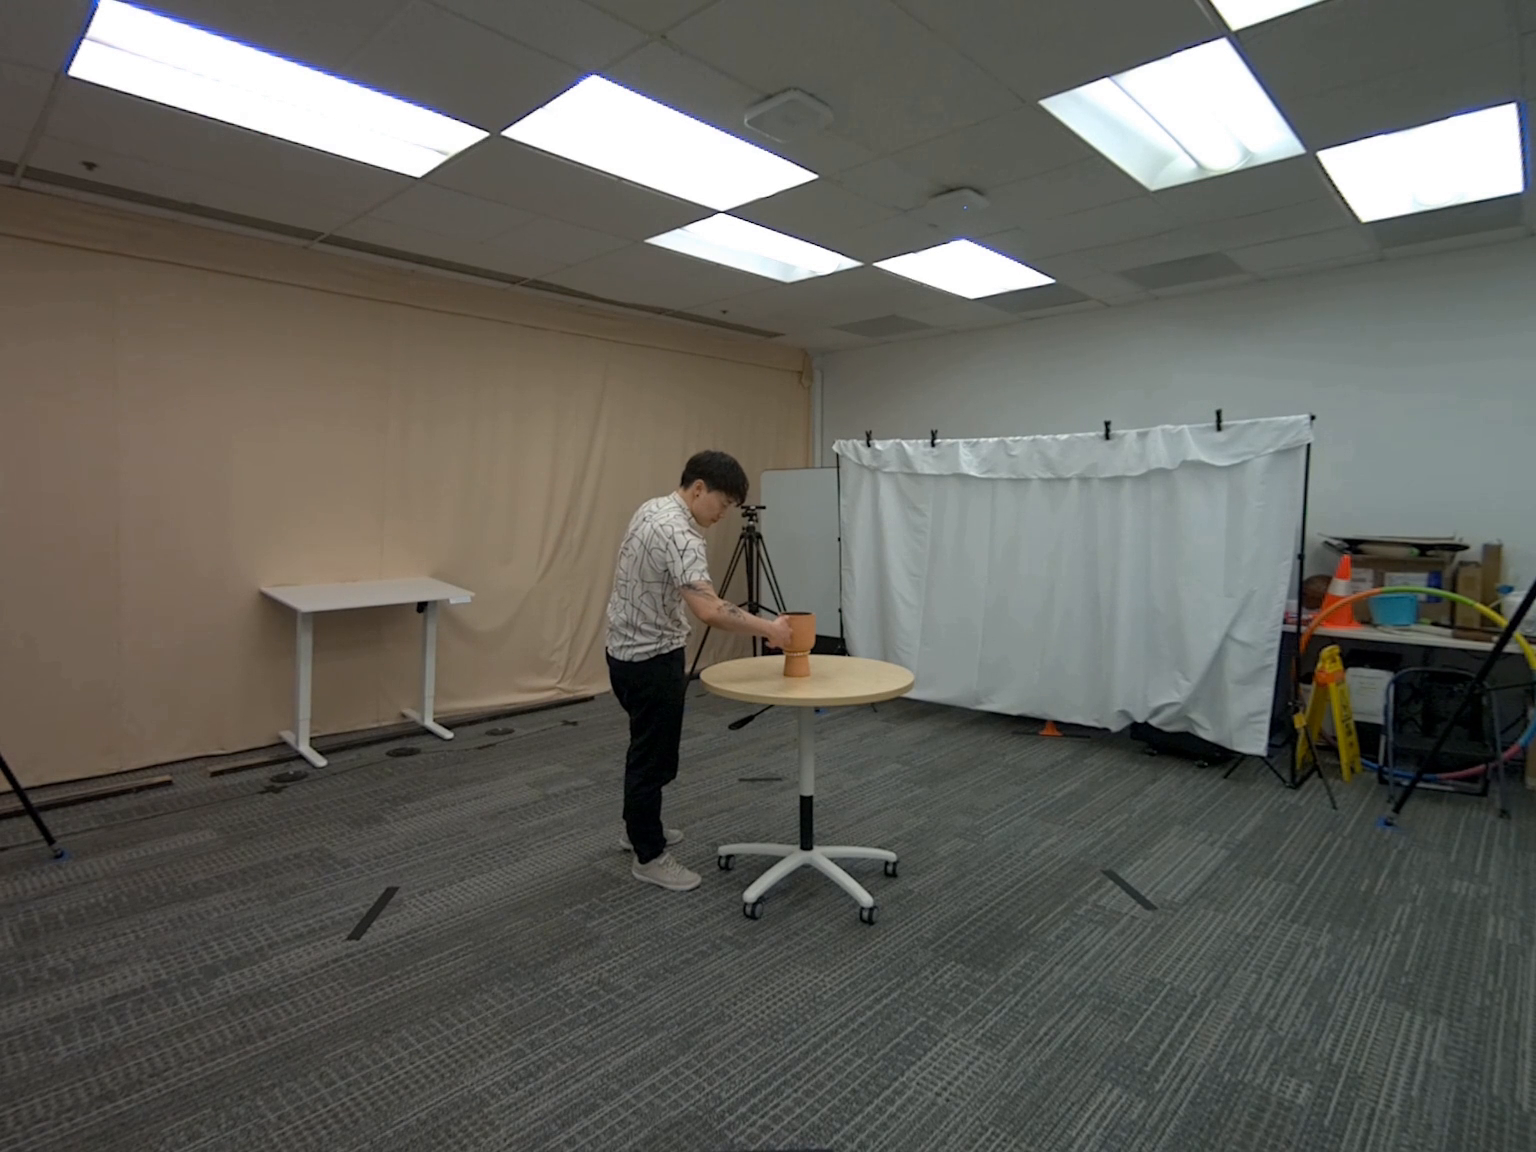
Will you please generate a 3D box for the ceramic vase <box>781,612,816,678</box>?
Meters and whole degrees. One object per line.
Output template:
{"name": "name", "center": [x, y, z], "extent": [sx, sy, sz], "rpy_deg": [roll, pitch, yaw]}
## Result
{"name": "ceramic vase", "center": [0.108, 0.248, 3.014], "extent": [0.157, 0.219, 0.136], "rpy_deg": [-2, 3, -11]}
